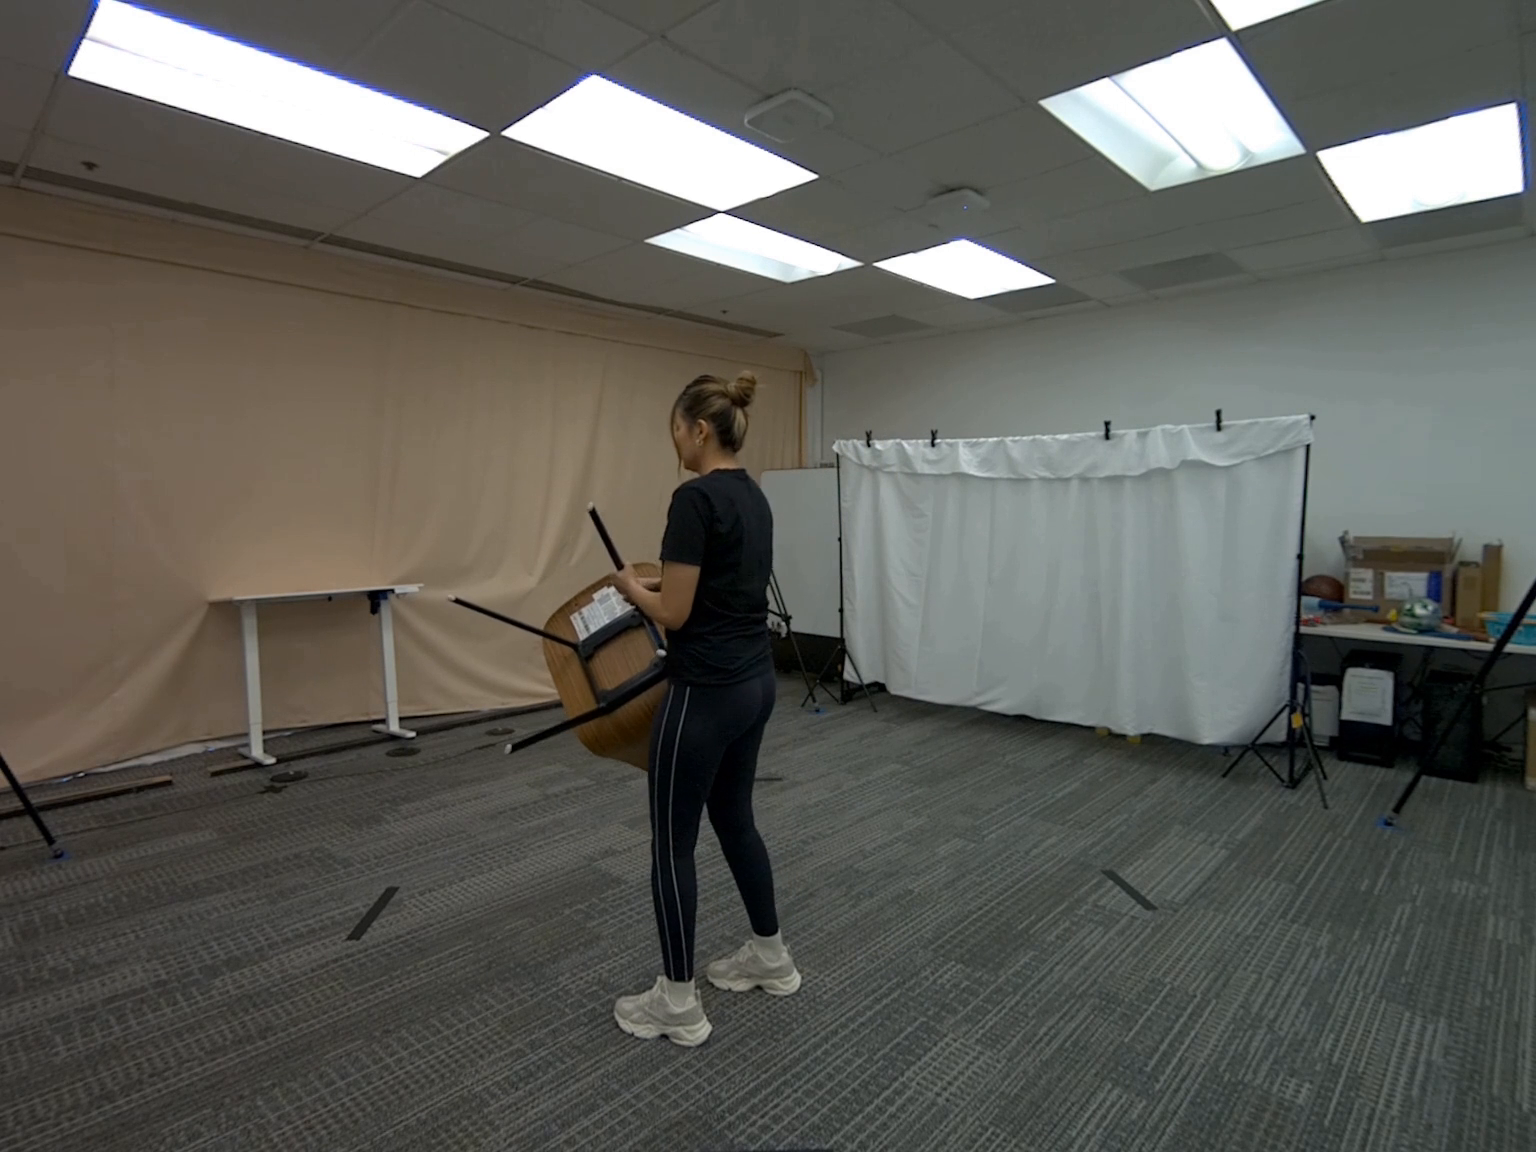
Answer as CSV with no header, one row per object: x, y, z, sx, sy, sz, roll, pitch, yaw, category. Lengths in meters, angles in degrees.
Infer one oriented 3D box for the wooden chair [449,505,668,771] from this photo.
-0.422,0.238,2.422,0.479,0.538,0.851,-33,-29,5,wooden chair
